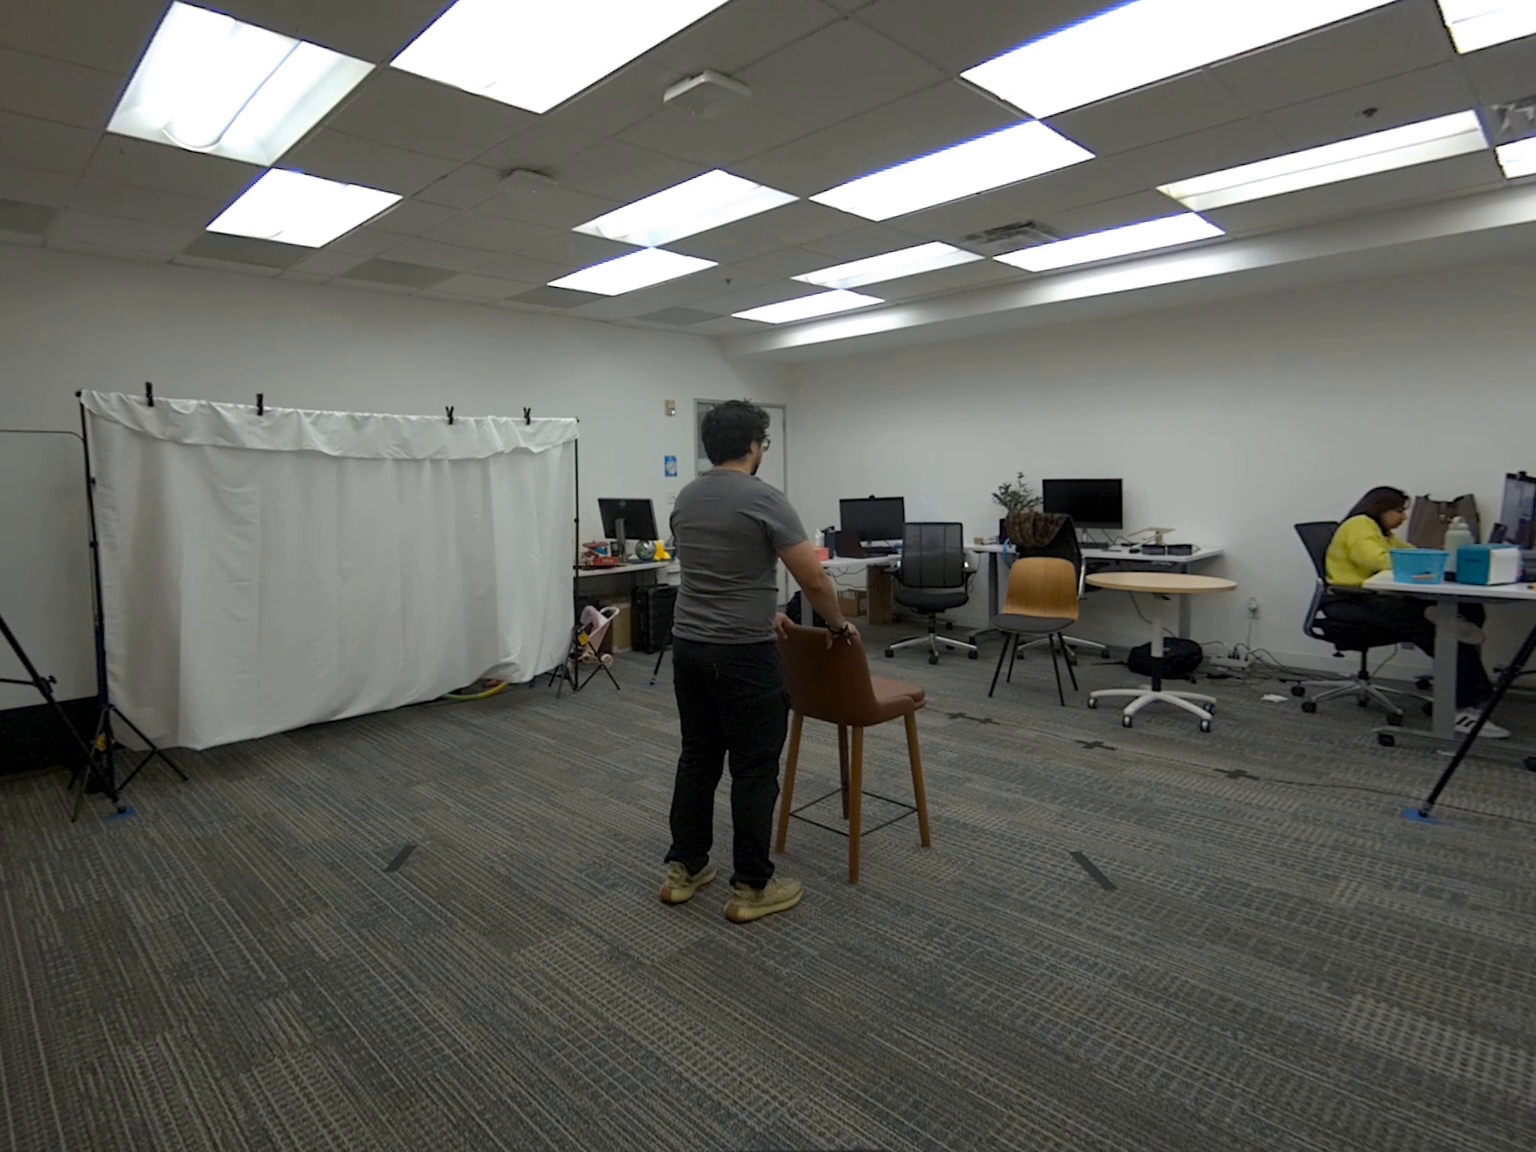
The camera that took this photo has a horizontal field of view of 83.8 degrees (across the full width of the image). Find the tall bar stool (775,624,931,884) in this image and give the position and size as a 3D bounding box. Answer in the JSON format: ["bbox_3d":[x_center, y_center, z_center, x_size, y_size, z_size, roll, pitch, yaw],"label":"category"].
[{"bbox_3d":[0.303,0.590,3.185,0.456,0.885,0.470,-7,8,-44],"label":"tall bar stool"}]
